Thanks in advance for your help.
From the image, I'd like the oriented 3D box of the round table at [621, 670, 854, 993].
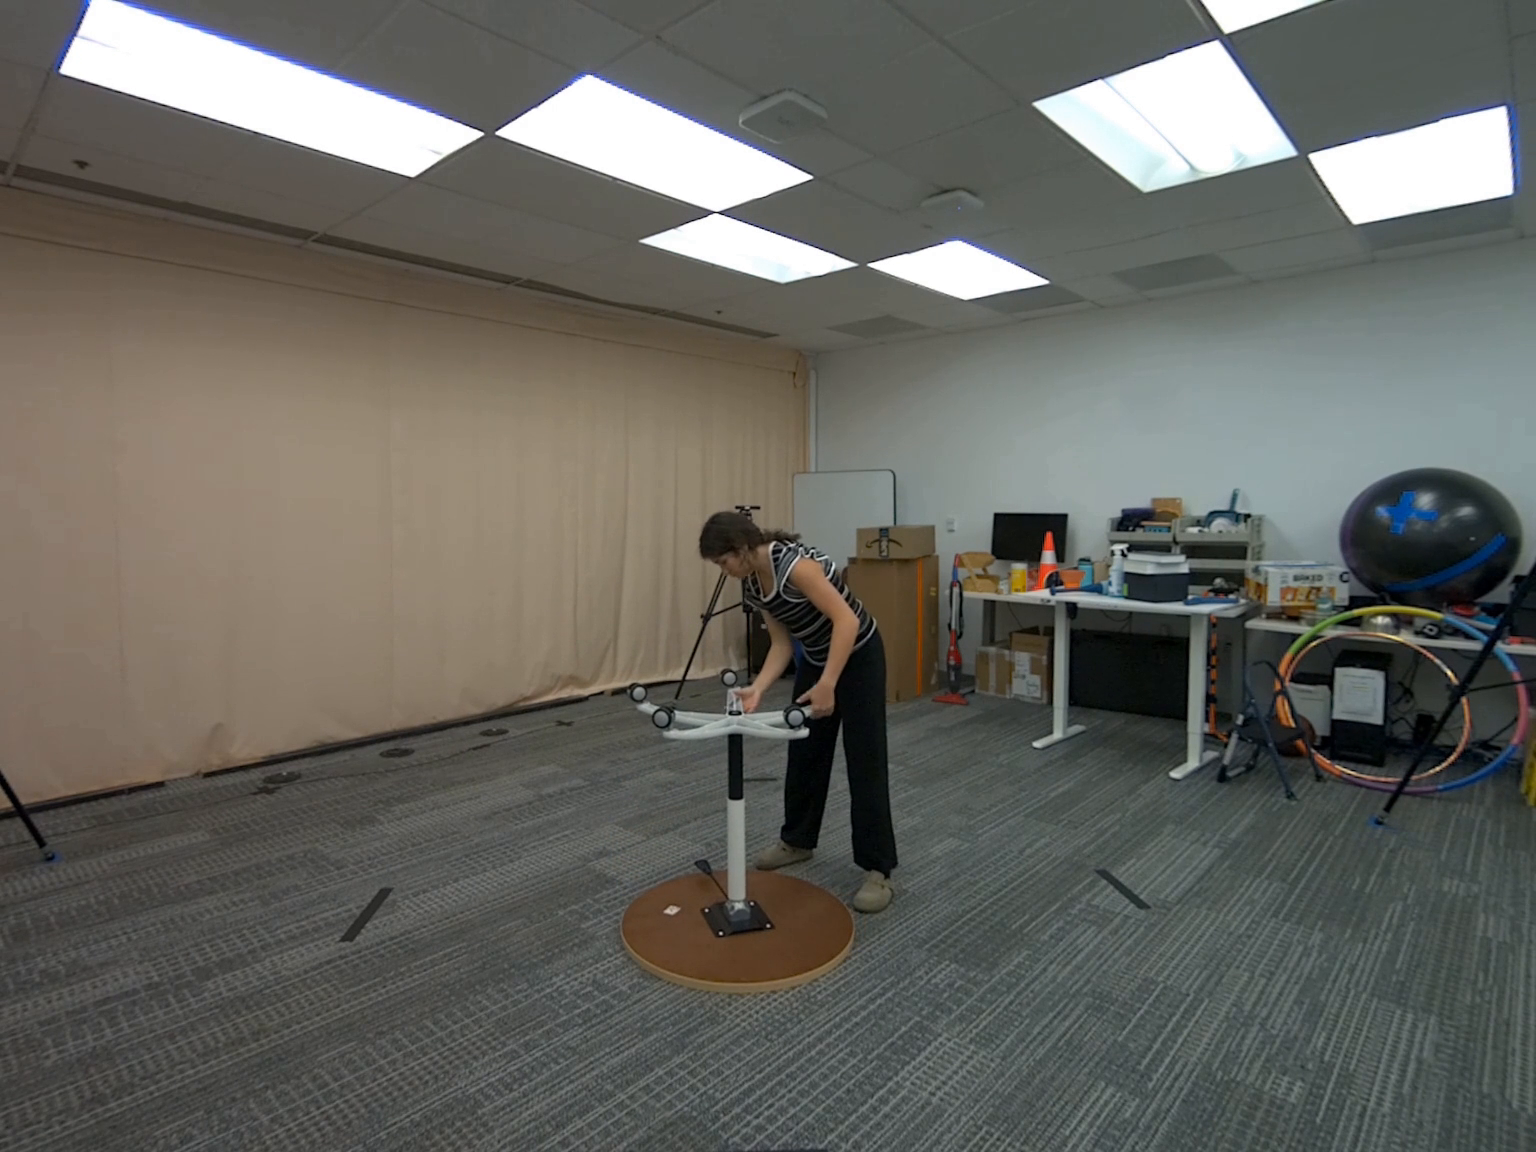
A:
[{"bbox_3d":[-0.109,0.769,2.759,0.763,0.792,0.767,-1,4,-2],"label":"round table"}]
